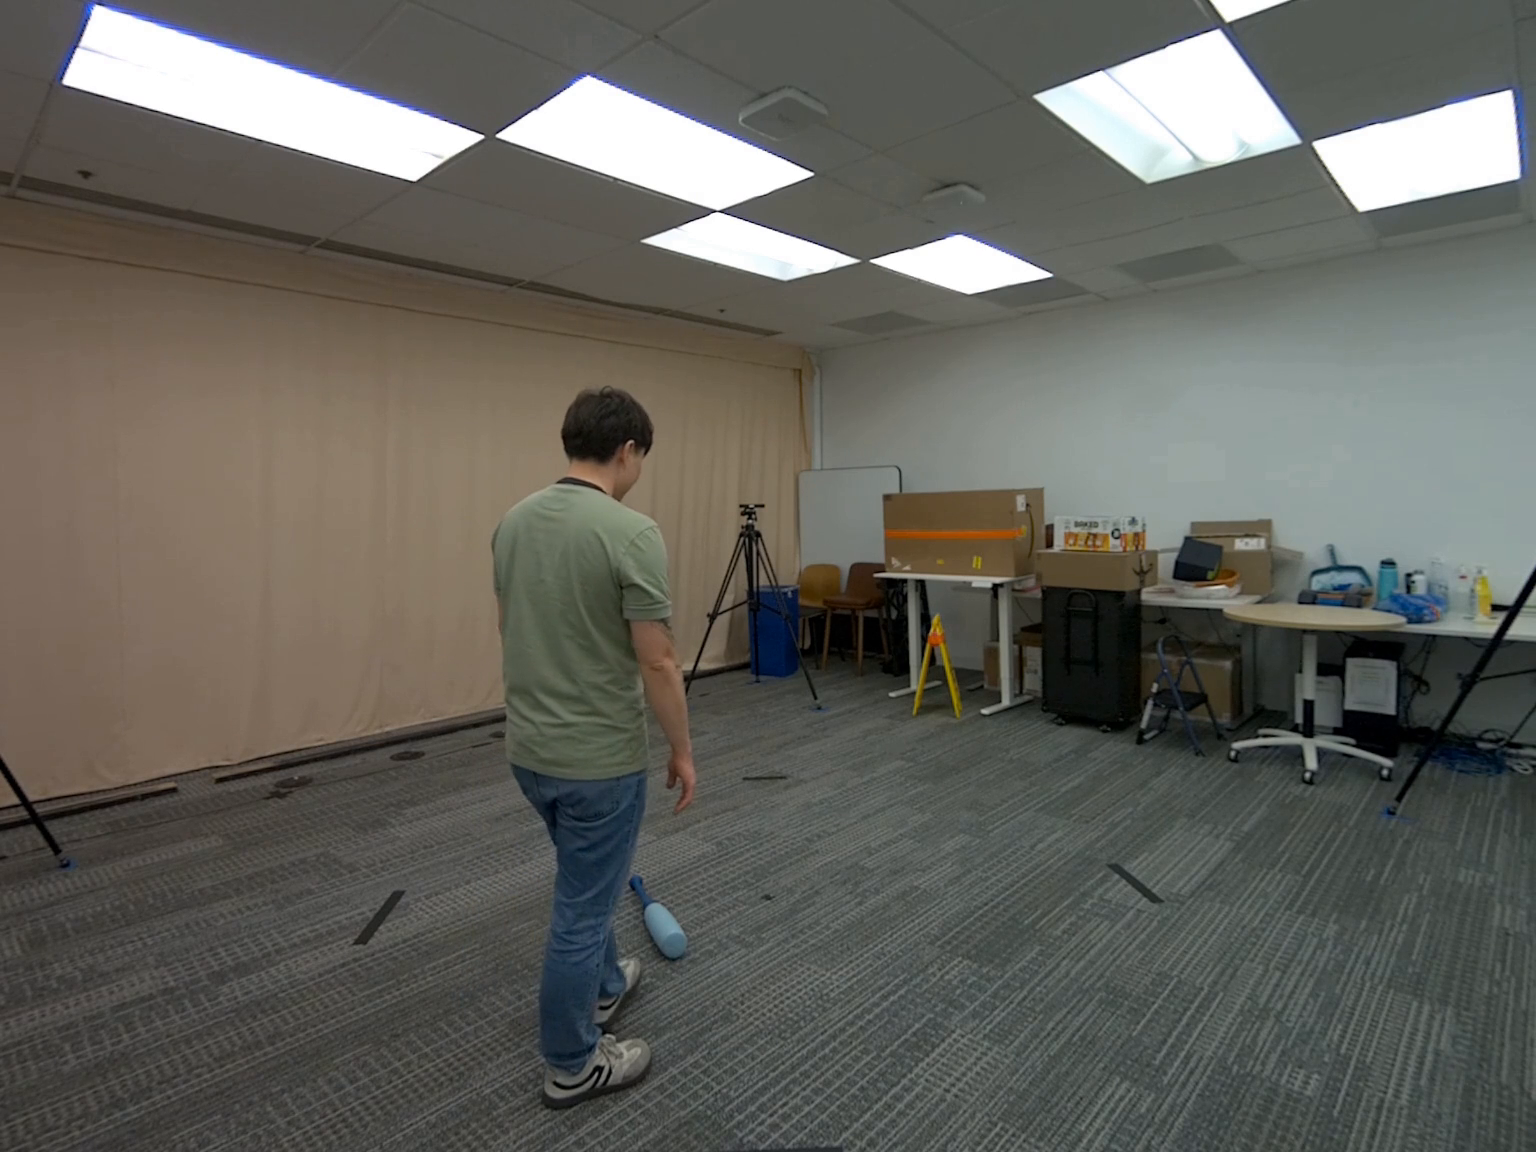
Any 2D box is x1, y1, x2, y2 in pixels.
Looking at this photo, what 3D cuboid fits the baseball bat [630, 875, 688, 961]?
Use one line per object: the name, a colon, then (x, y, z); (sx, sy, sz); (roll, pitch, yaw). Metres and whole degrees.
baseball bat: (-0.384, 1.125, 2.821); (0.087, 0.089, 0.554); (-2, 2, -21)
